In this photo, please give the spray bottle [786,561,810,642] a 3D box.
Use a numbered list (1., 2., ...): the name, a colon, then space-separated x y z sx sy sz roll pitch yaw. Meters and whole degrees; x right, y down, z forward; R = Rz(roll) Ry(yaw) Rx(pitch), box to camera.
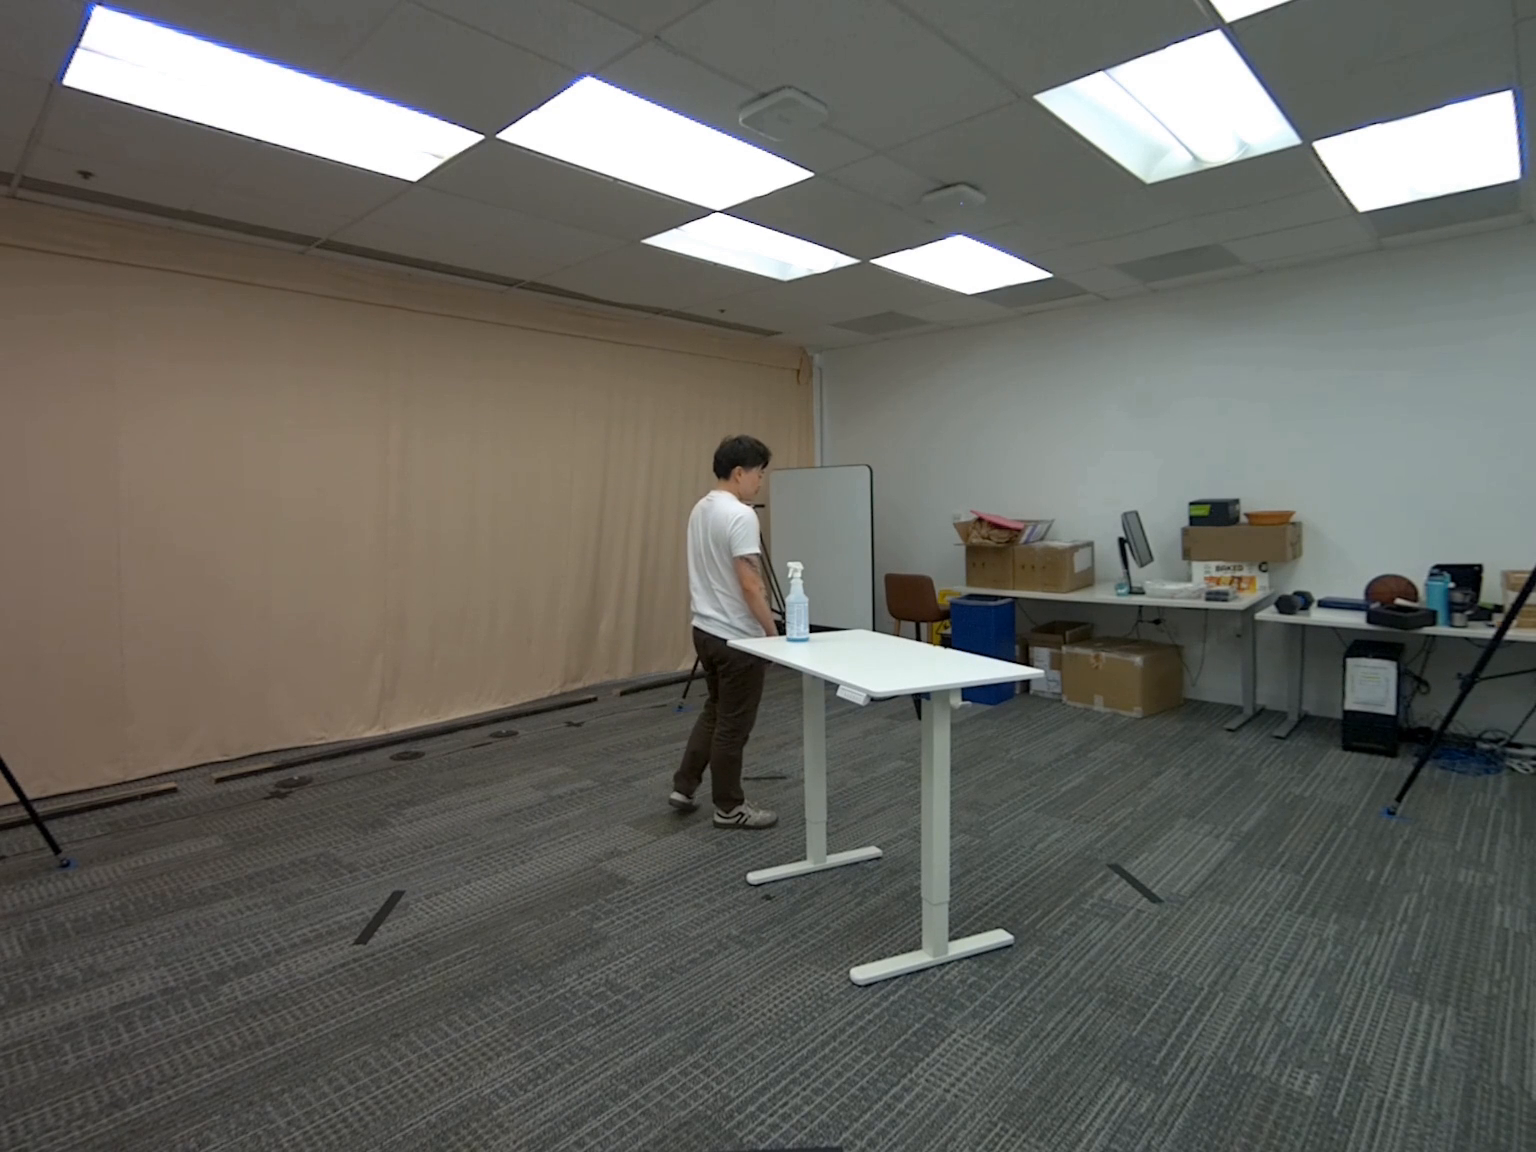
1. spray bottle: 0.109 0.098 3.146 0.088 0.296 0.089 -2 5 -27
